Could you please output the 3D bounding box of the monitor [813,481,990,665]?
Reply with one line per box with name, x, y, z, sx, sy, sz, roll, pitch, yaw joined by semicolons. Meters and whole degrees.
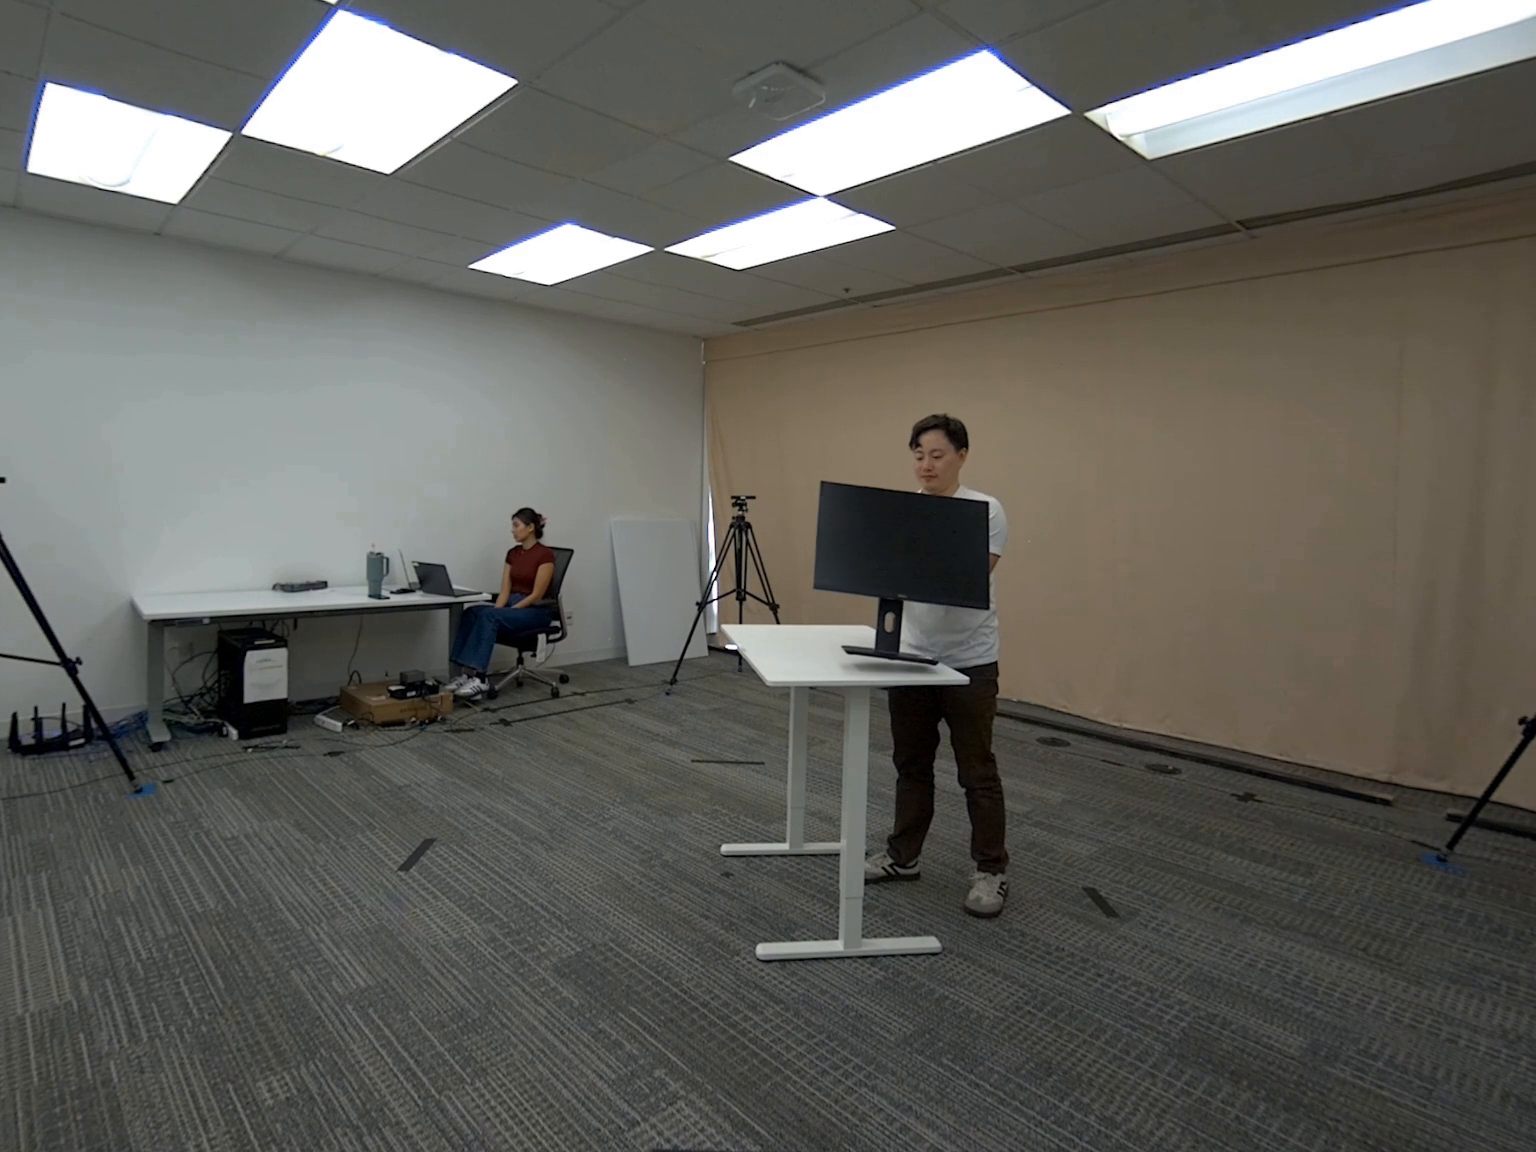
monitor;0.393;0.001;2.587;0.537;0.524;0.187;7;-4;-3
